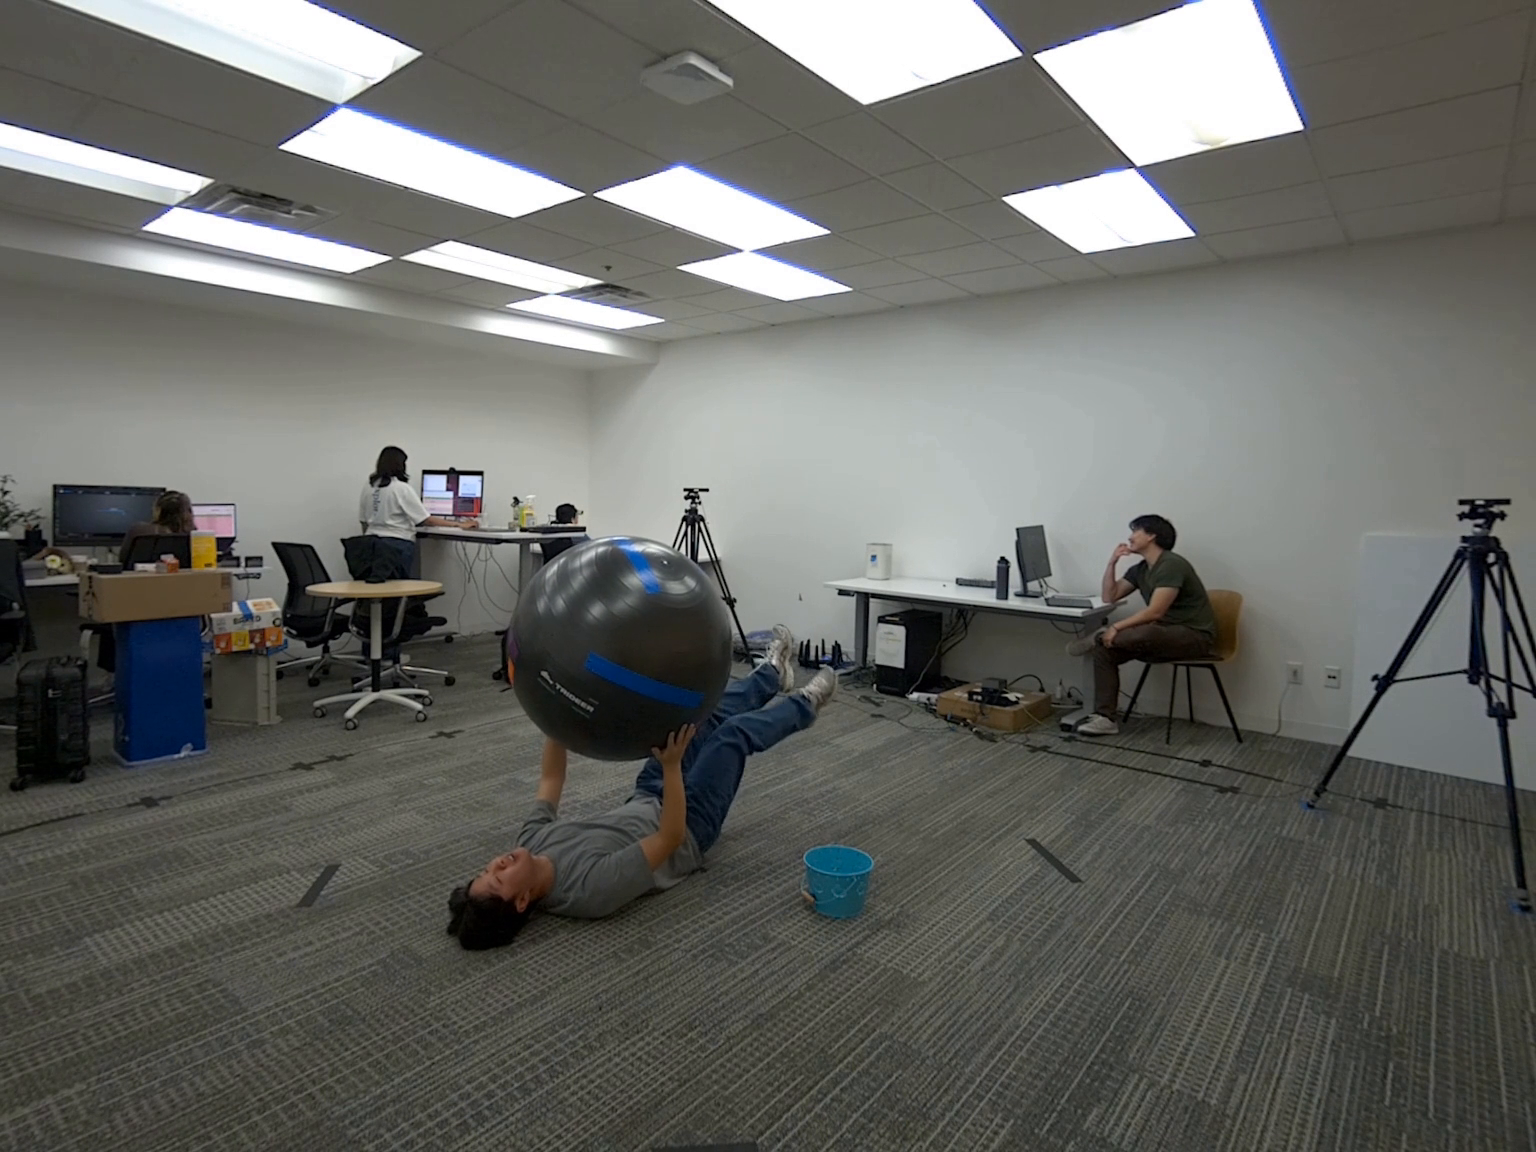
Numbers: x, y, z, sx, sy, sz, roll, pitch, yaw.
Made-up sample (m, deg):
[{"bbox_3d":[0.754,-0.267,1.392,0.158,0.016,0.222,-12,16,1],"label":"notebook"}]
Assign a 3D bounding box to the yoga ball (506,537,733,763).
[{"bbox_3d":[-0.514,0.249,2.895,0.757,0.756,0.762,1,4,-2],"label":"yoga ball"}]
